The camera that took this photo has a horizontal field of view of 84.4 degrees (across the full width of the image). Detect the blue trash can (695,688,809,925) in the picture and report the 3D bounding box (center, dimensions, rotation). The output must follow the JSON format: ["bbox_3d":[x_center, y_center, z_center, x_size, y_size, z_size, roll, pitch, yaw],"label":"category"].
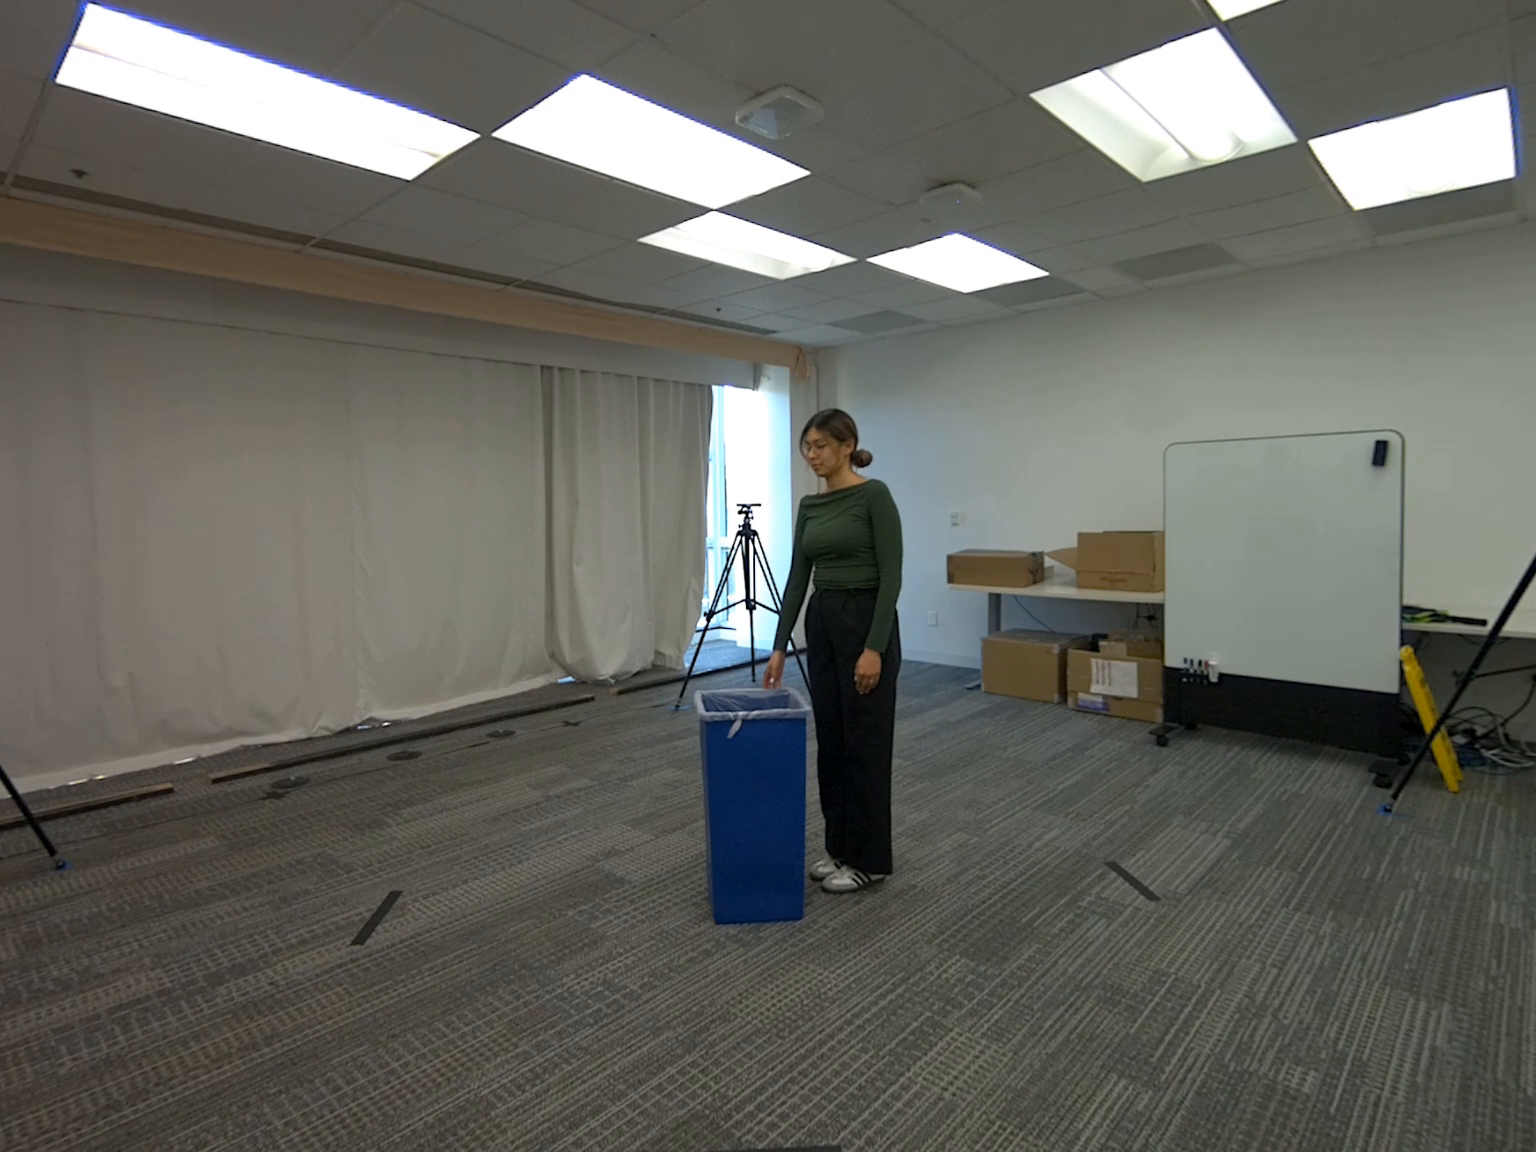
[{"bbox_3d":[-0.056,0.785,2.925,0.372,0.712,0.381,0,2,-7],"label":"blue trash can"}]
